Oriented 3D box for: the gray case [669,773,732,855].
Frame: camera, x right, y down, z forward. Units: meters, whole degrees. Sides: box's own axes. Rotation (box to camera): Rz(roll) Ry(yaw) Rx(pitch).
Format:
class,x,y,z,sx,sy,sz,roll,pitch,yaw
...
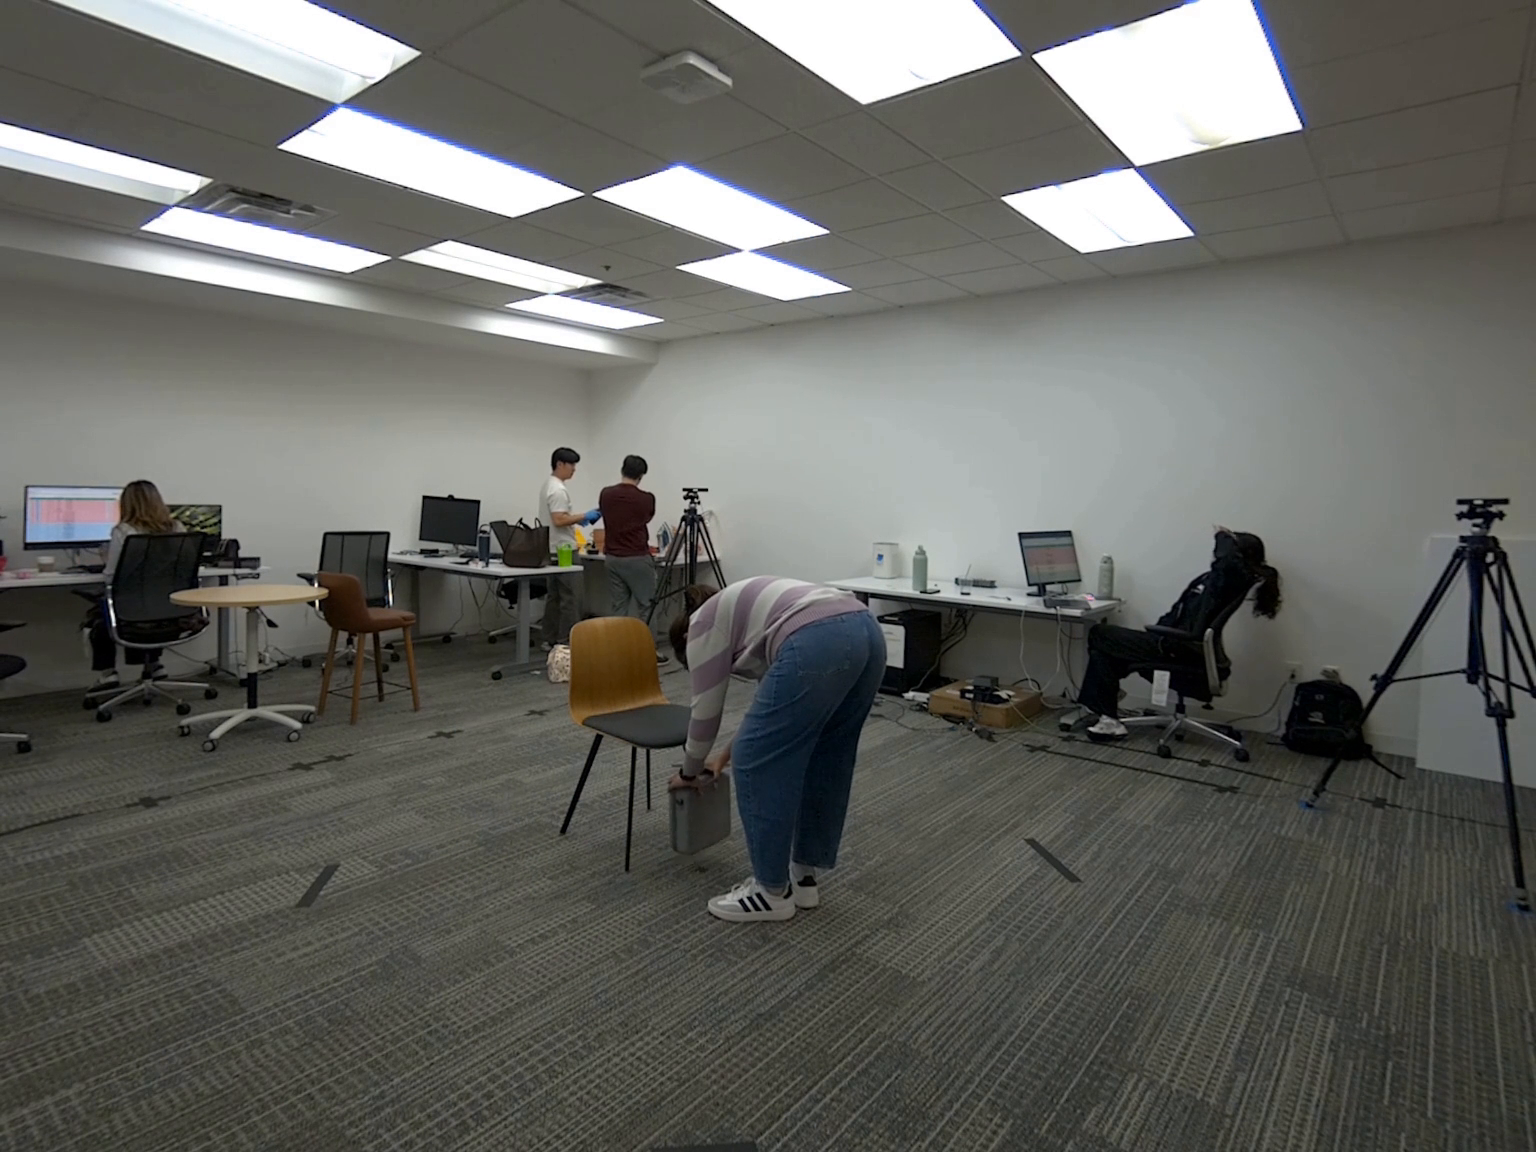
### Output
class,x,y,z,sx,sy,sz,roll,pitch,yaw
gray case,-0.256,0.856,3.145,0.107,0.260,0.250,-1,4,39
